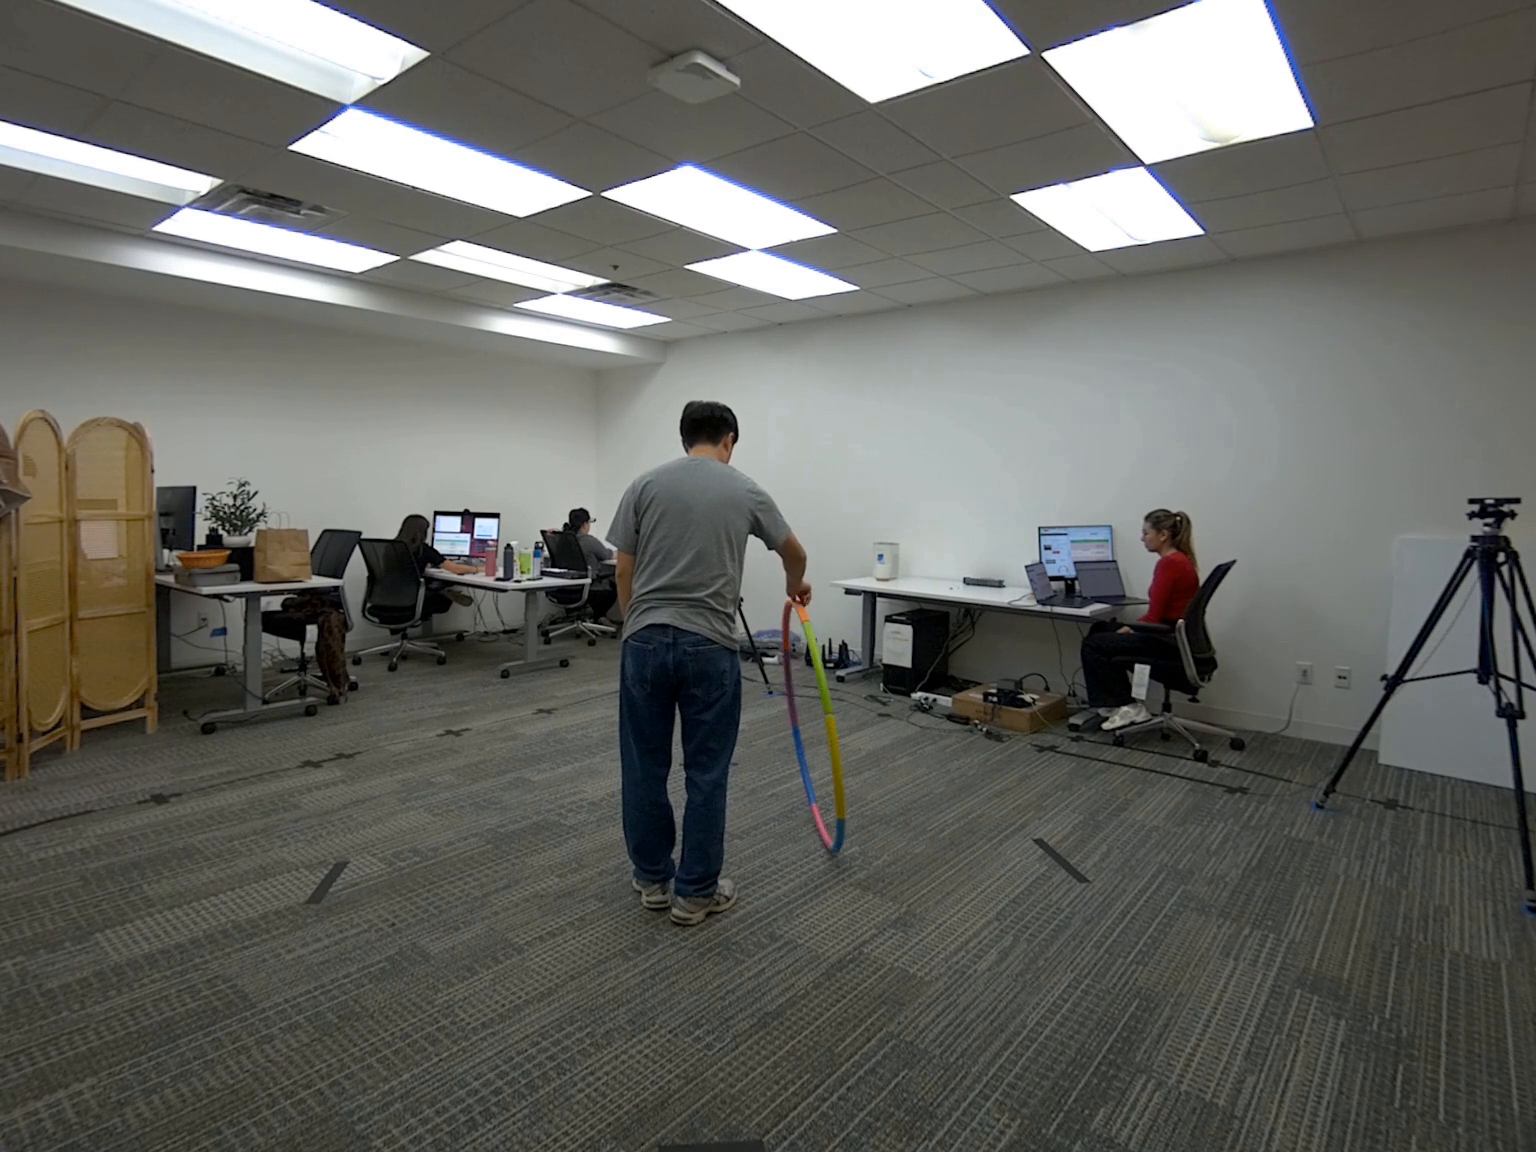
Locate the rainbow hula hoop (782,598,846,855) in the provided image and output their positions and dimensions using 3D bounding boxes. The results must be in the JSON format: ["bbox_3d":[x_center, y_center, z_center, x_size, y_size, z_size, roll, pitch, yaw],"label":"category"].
[{"bbox_3d":[0.158,0.568,3.346,0.035,0.974,0.988,-9,5,-6],"label":"rainbow hula hoop"}]
